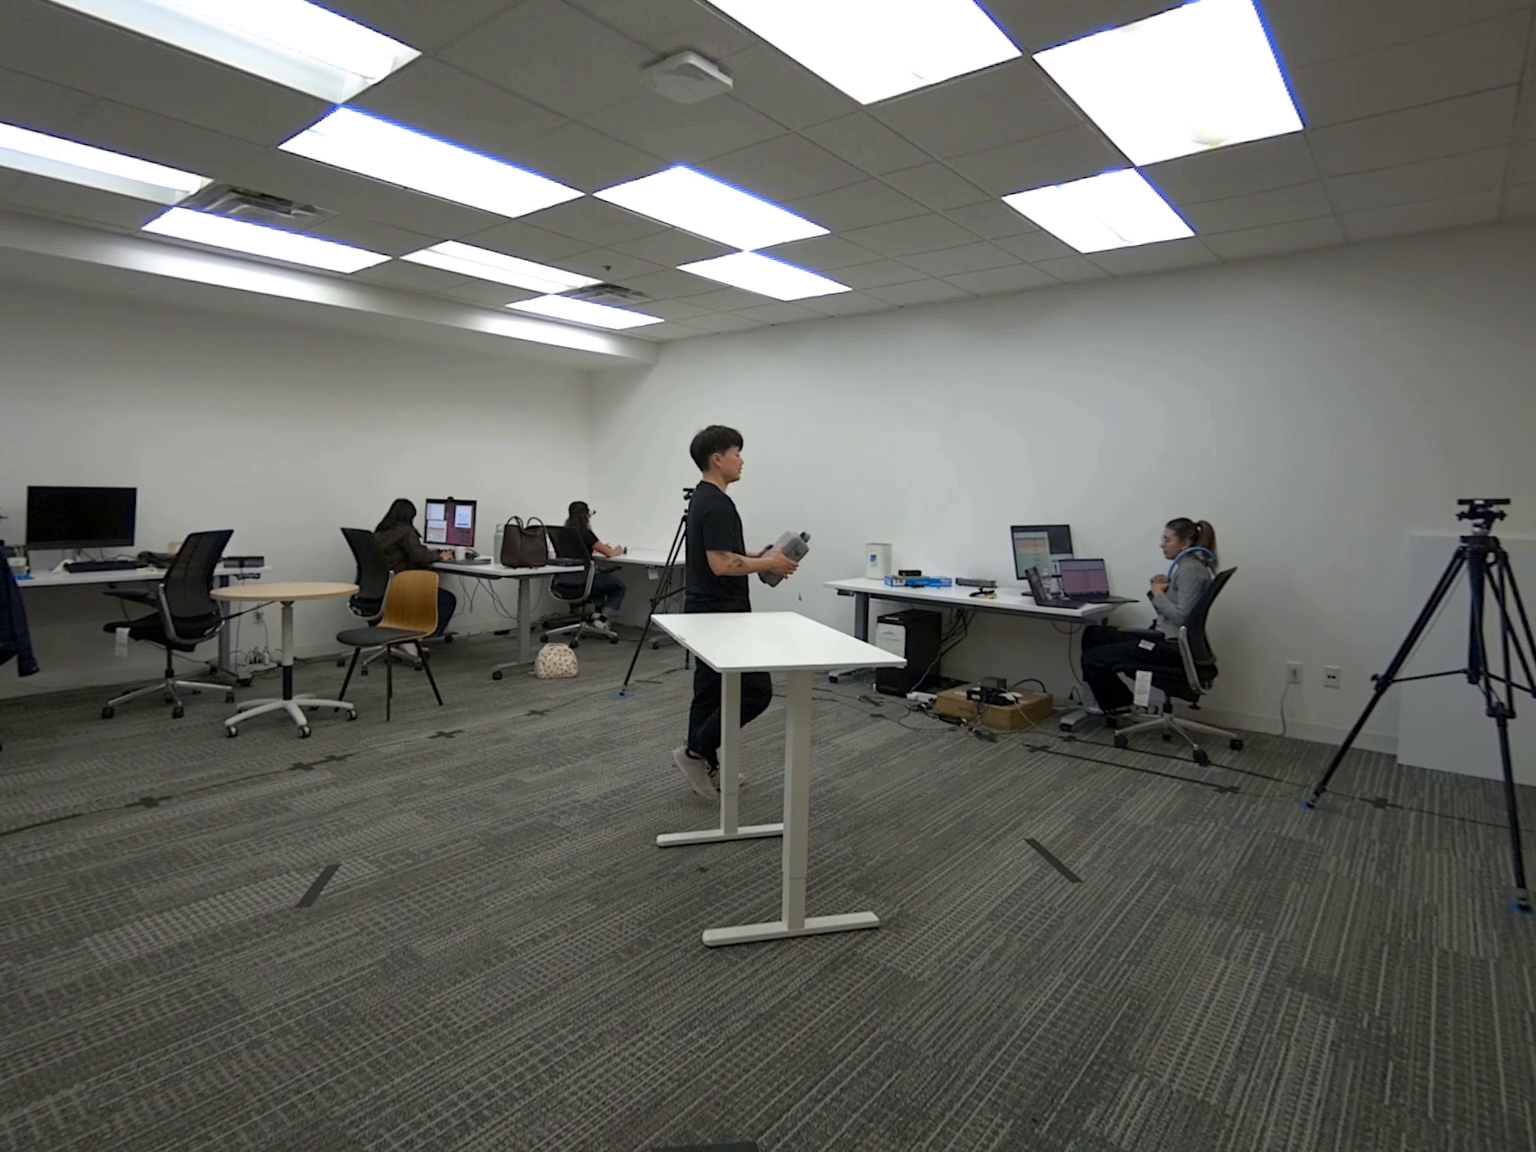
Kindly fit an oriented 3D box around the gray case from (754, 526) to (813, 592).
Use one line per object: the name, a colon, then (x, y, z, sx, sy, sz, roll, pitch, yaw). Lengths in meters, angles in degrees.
gray case: (0.056, -0.085, 3.870, 0.103, 0.260, 0.260, 42, 4, -10)
